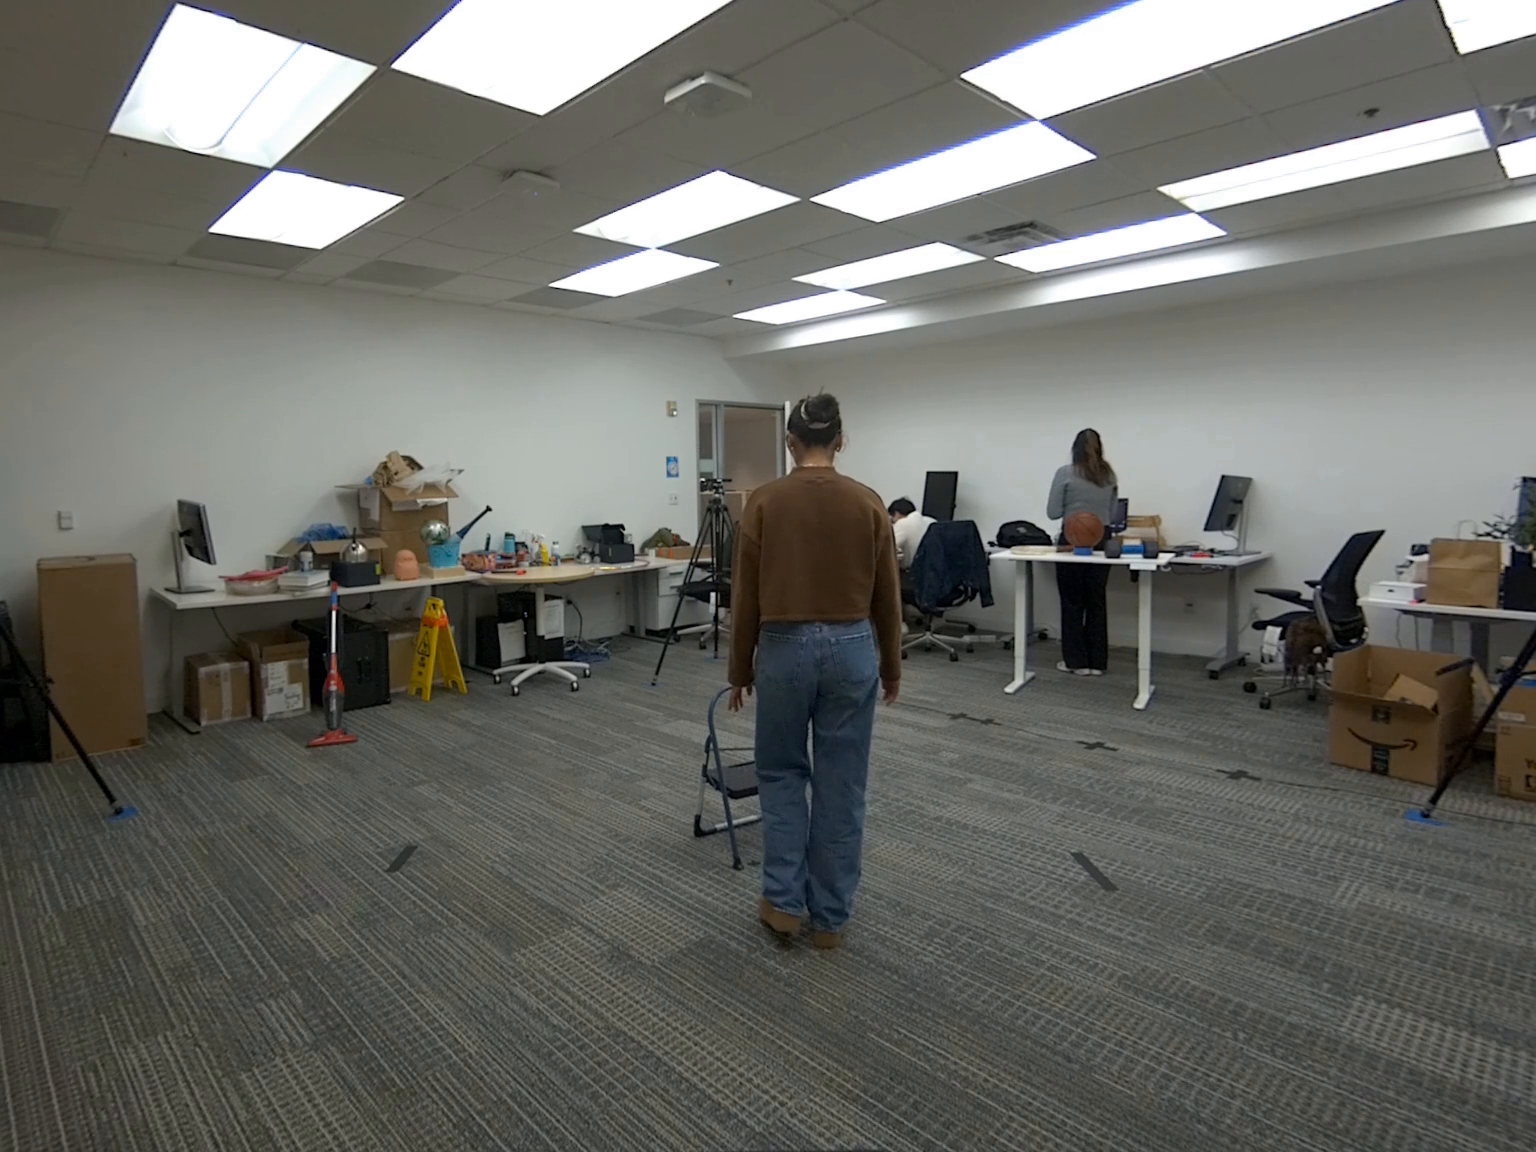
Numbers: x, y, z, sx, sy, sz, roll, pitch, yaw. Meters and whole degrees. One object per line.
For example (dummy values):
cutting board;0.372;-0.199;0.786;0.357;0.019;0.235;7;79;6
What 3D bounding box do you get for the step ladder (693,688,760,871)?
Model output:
step ladder;-0.030;0.722;3.289;0.420;0.604;0.359;-4;5;-33
